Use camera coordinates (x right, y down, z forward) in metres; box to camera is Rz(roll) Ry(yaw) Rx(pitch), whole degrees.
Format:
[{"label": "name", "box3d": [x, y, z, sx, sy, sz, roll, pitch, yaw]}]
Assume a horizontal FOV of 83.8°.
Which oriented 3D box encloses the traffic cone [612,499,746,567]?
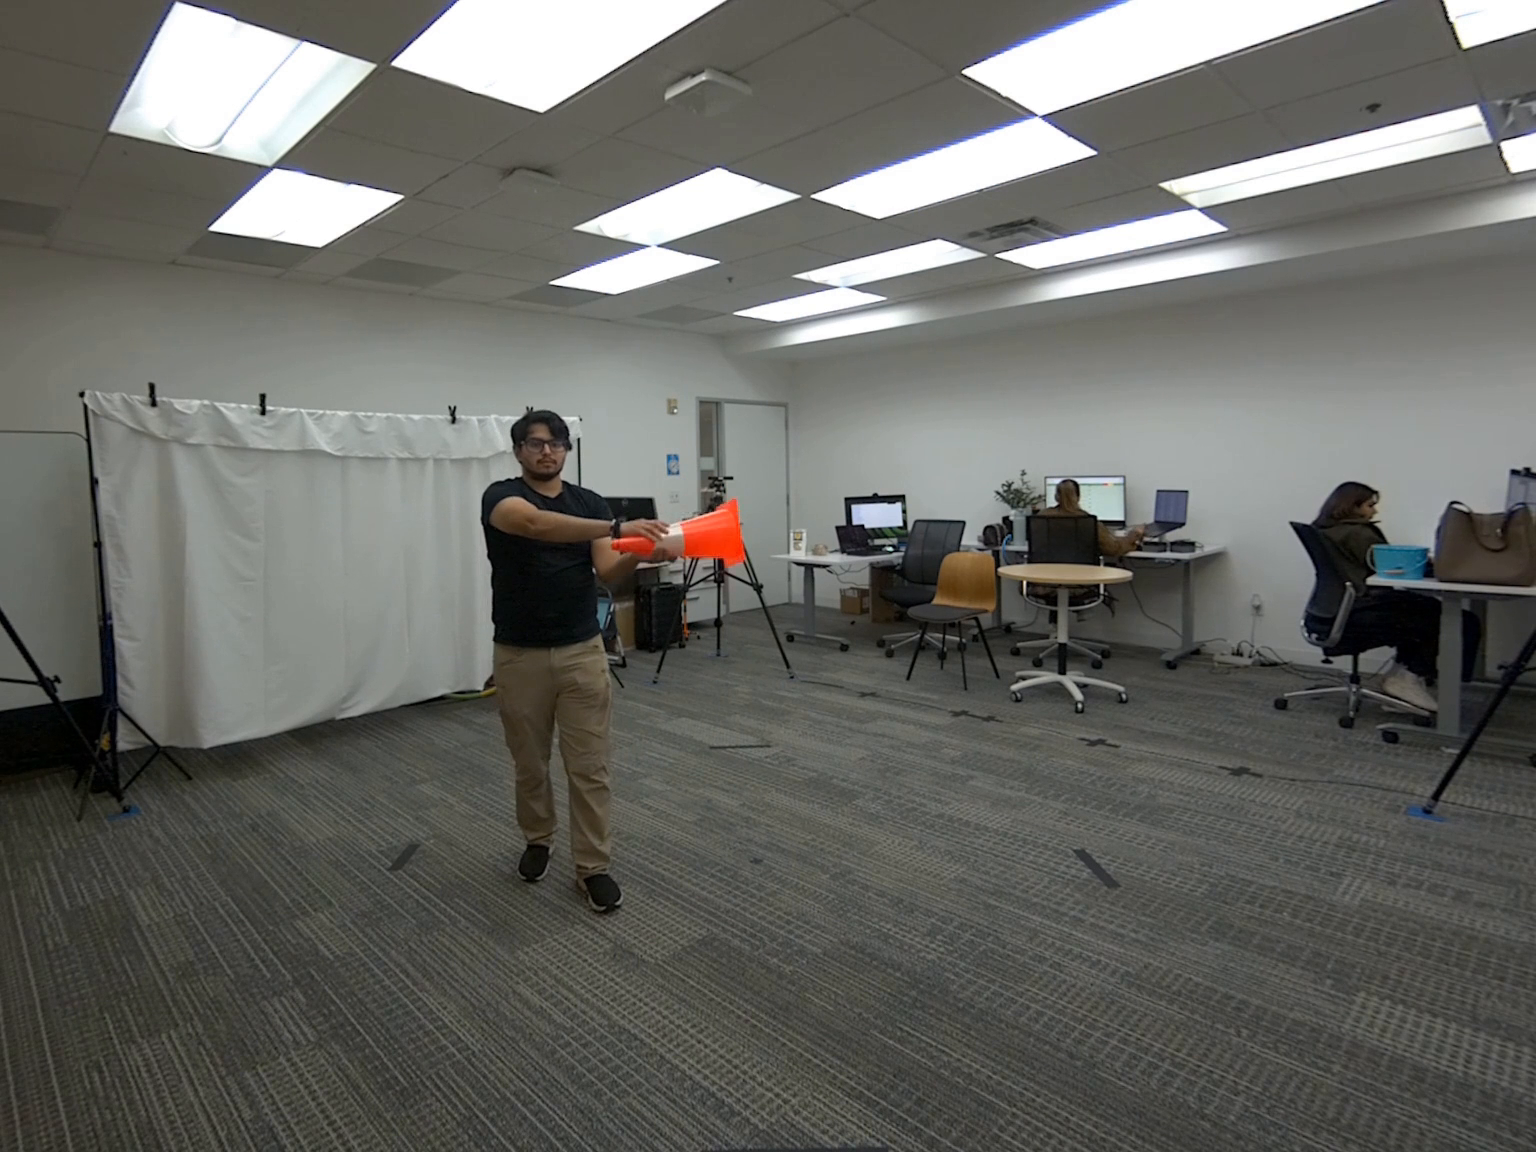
[{"label": "traffic cone", "box3d": [-0.300, -0.104, 2.636, 0.379, 0.204, 0.207, -9, -1, -14]}]
